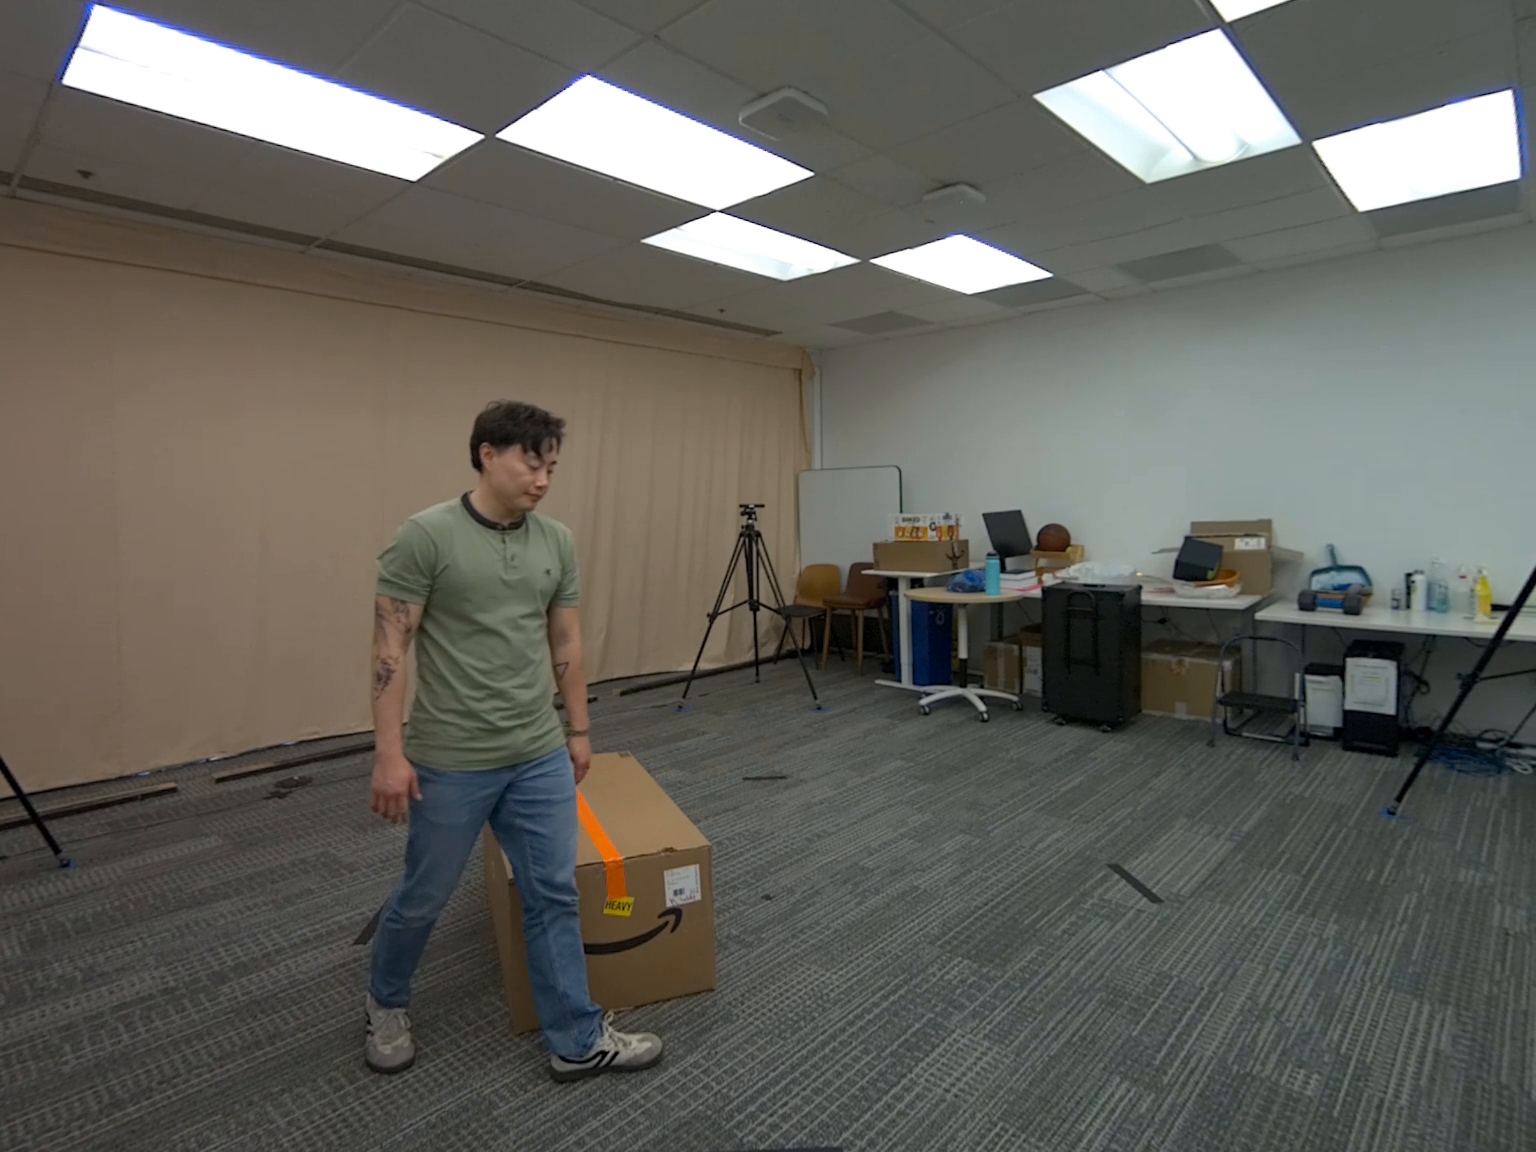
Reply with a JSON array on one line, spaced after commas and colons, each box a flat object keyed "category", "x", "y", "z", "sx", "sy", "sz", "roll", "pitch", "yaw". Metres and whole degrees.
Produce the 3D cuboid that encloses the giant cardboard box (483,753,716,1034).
[{"category": "giant cardboard box", "x": -0.608, "y": 0.953, "z": 2.793, "sx": 0.566, "sy": 0.425, "sz": 1.050, "roll": -4, "pitch": 5, "yaw": -22}]
